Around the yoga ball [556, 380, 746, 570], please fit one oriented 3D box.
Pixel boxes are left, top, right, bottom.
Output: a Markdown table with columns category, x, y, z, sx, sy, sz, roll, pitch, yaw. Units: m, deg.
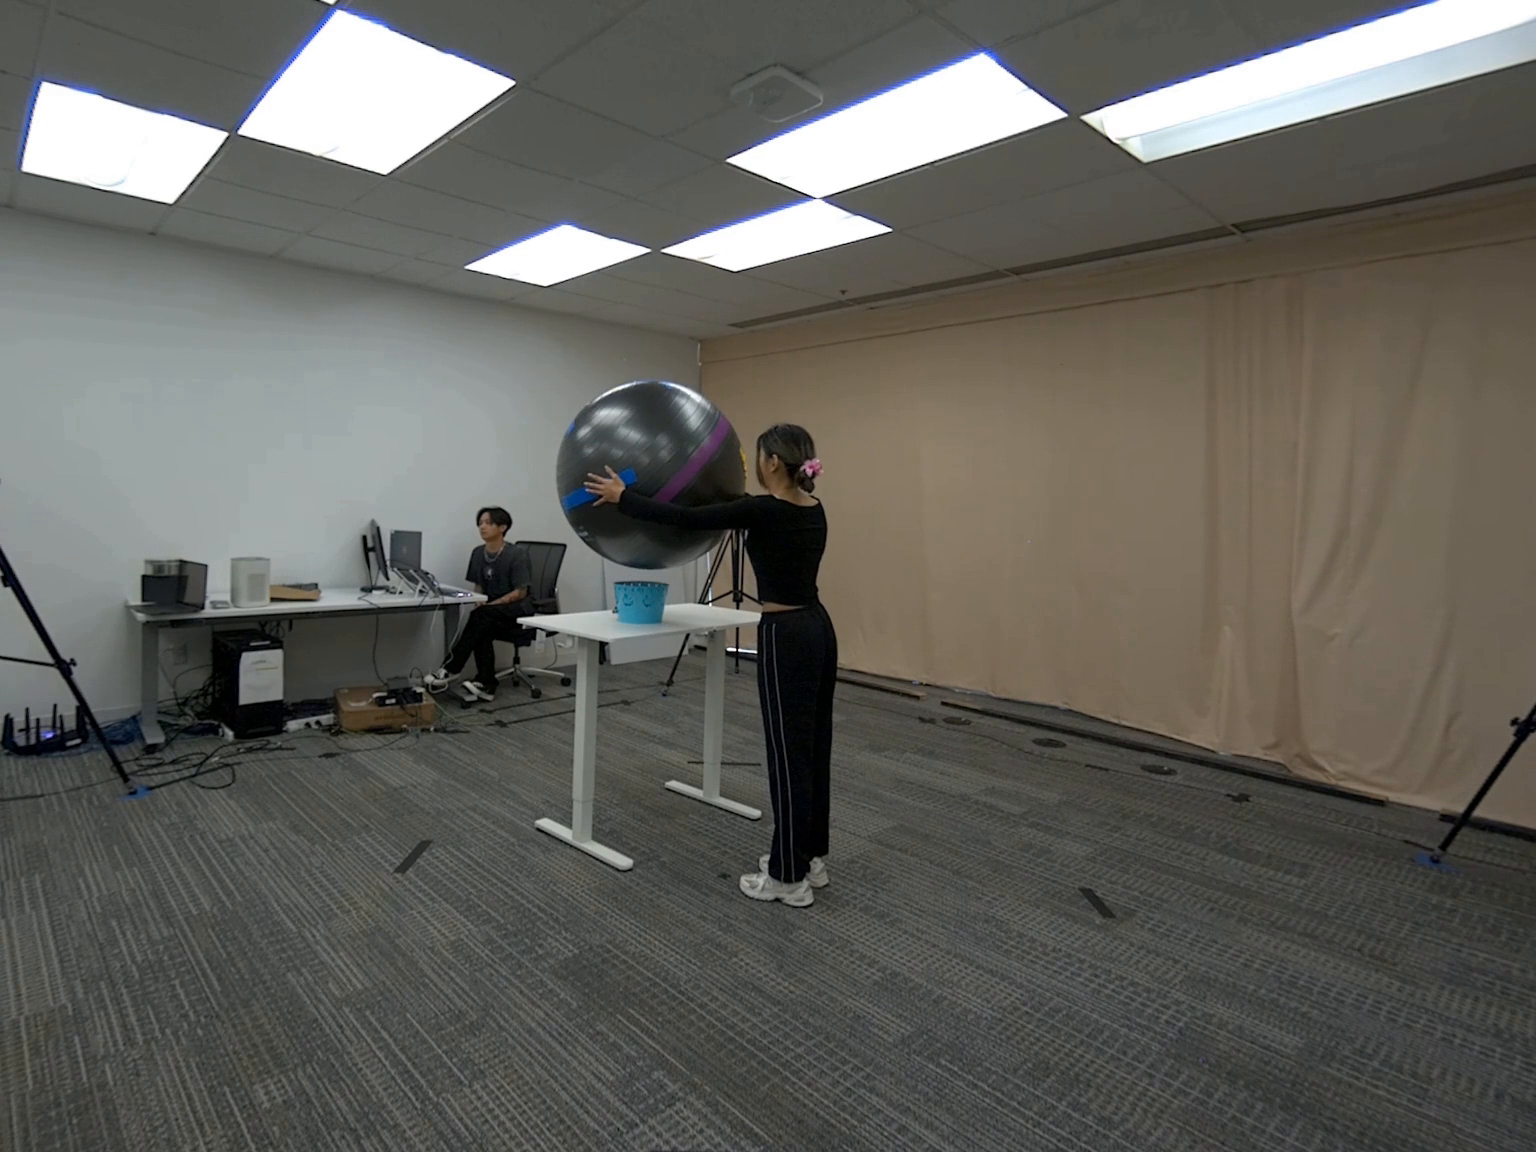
| category | x | y | z | sx | sy | sz | roll | pitch | yaw |
| --- | --- | --- | --- | --- | --- | --- | --- | --- | --- |
| yoga ball | -0.480 | -0.400 | 3.392 | 0.757 | 0.756 | 0.760 | 1 | 4 | -1 |
